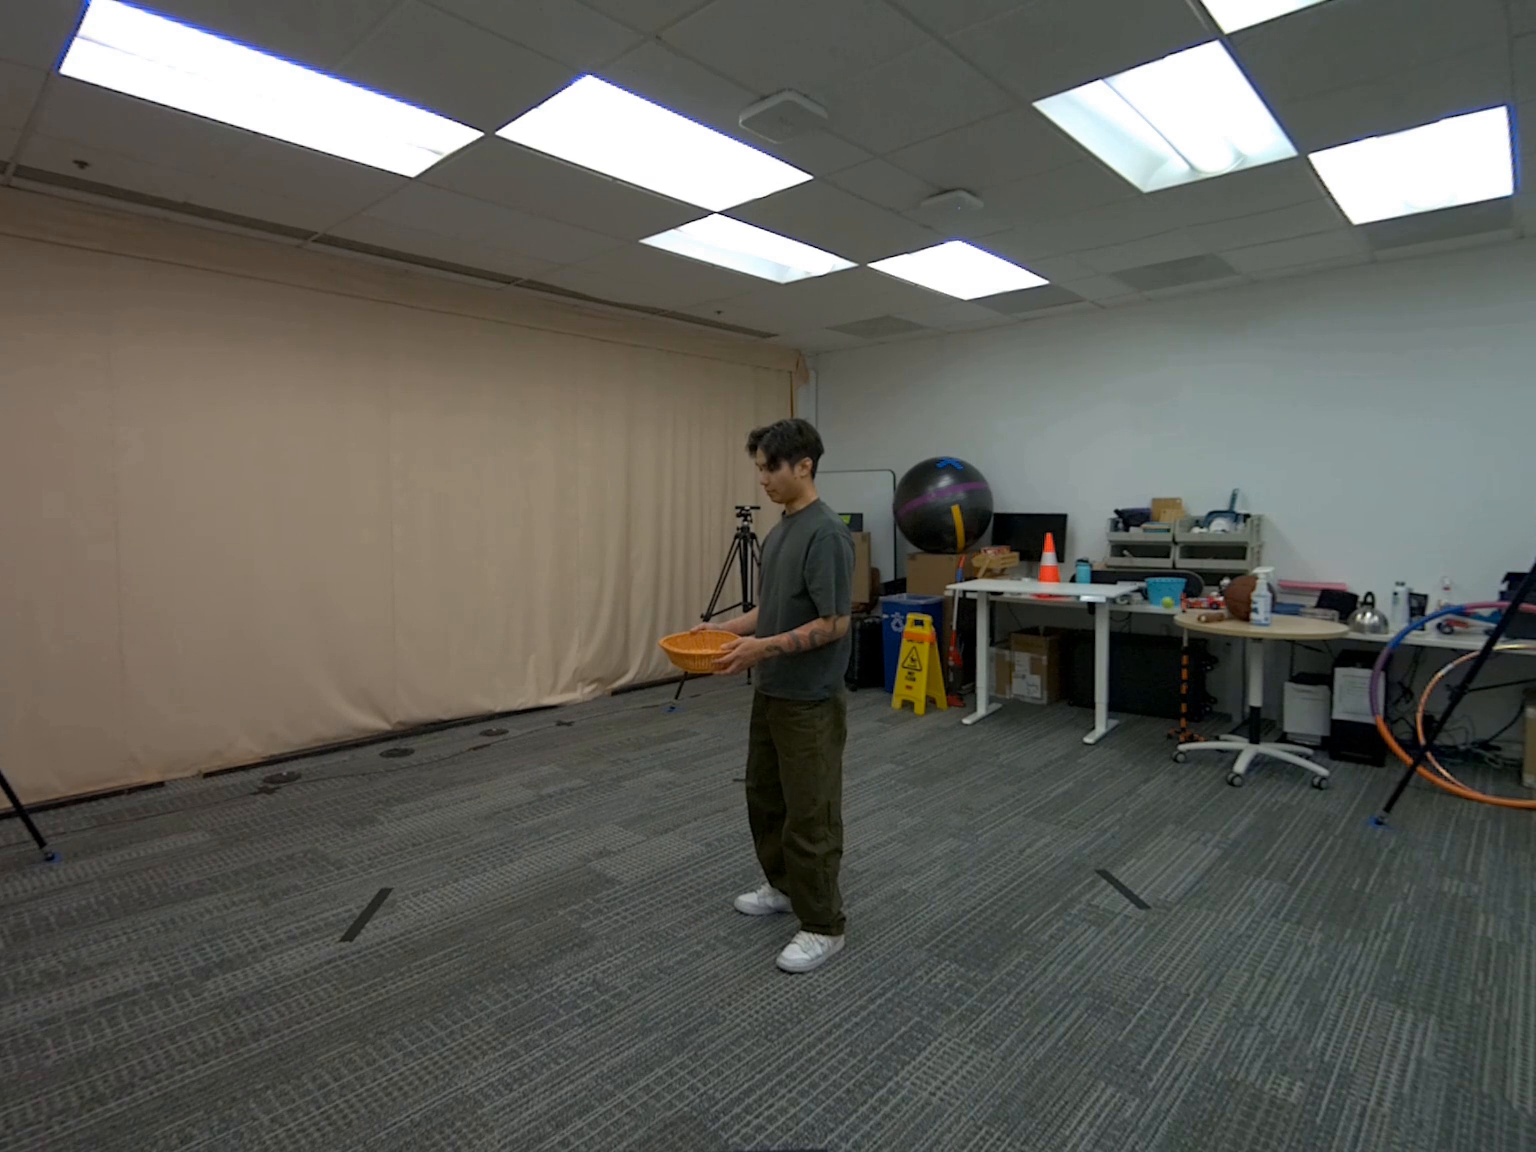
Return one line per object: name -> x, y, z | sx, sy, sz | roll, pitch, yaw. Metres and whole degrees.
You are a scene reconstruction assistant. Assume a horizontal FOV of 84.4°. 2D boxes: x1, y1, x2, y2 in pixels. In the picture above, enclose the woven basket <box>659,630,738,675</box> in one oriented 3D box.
woven basket -> -0.189, 0.243, 2.619 | 0.248, 0.073, 0.357 | -5, 7, -17
